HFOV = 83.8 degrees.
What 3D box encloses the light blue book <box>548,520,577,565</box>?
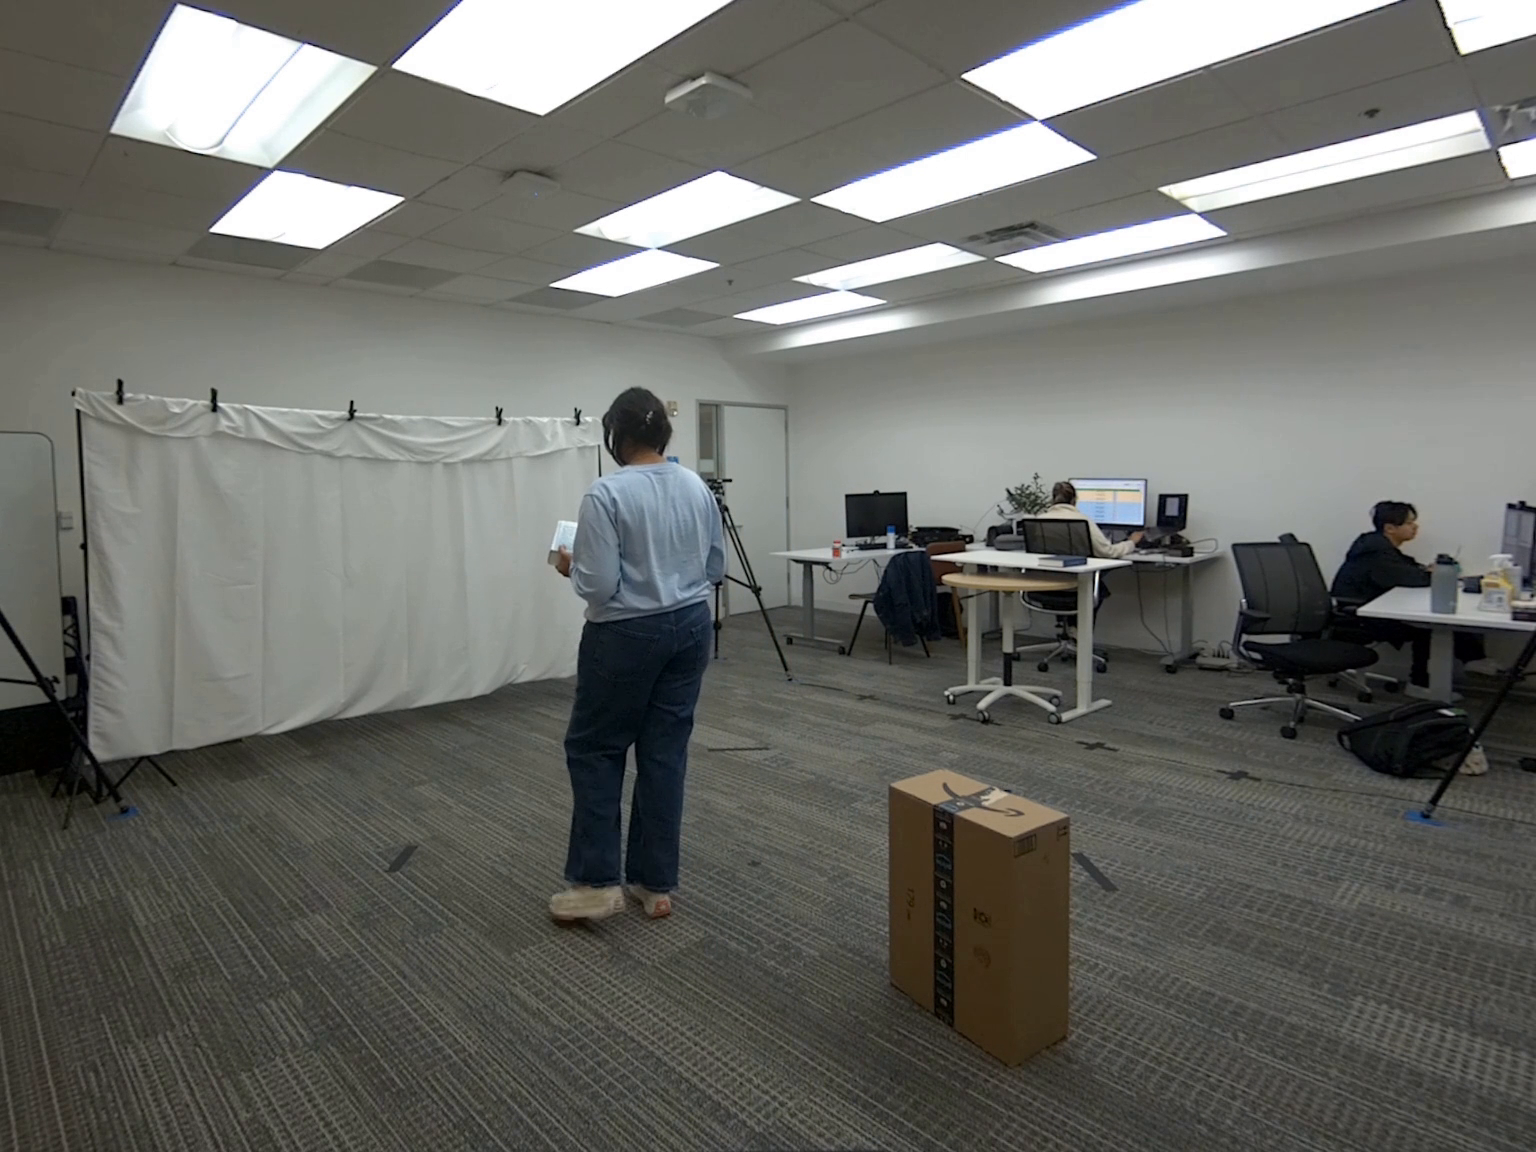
[{"bbox_3d":[-0.637,-0.100,2.934,0.190,0.058,0.267,9,24,-9],"label":"light blue book"}]
